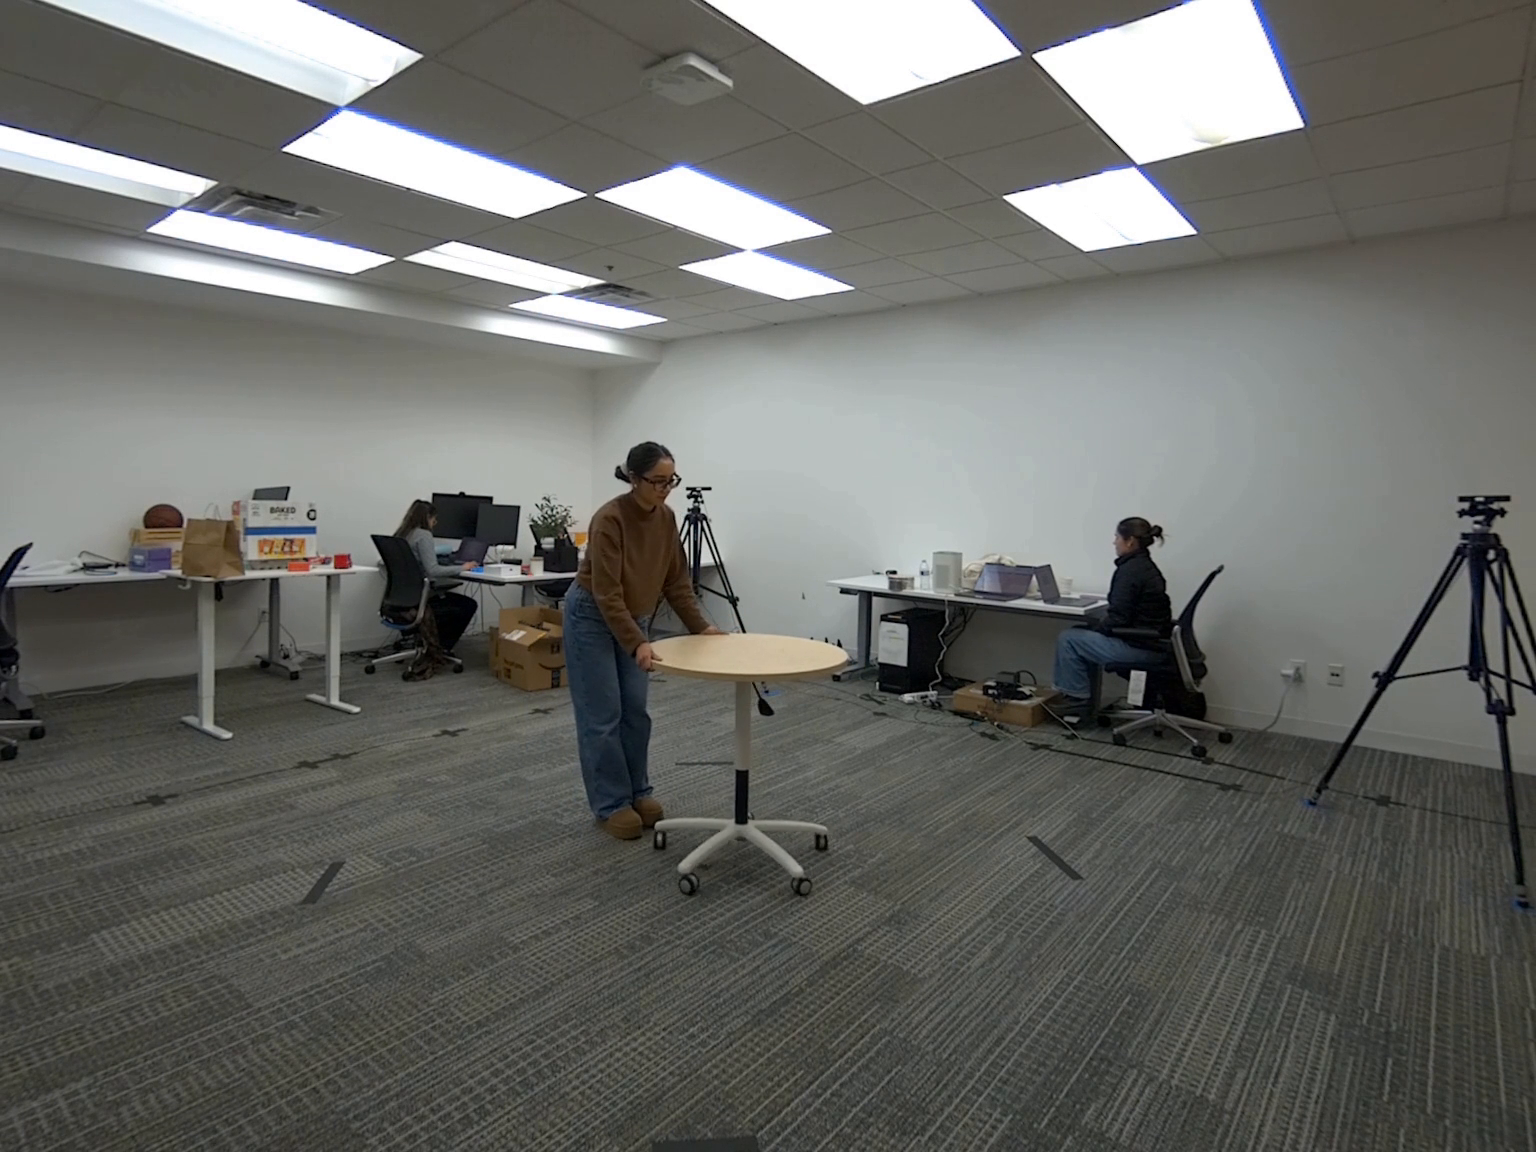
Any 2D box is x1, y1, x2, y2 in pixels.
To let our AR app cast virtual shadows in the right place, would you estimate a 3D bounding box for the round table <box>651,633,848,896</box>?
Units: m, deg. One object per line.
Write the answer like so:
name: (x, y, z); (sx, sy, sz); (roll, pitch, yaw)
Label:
round table: (-0.105, 0.670, 3.175); (0.763, 0.791, 0.768); (1, 4, -2)
